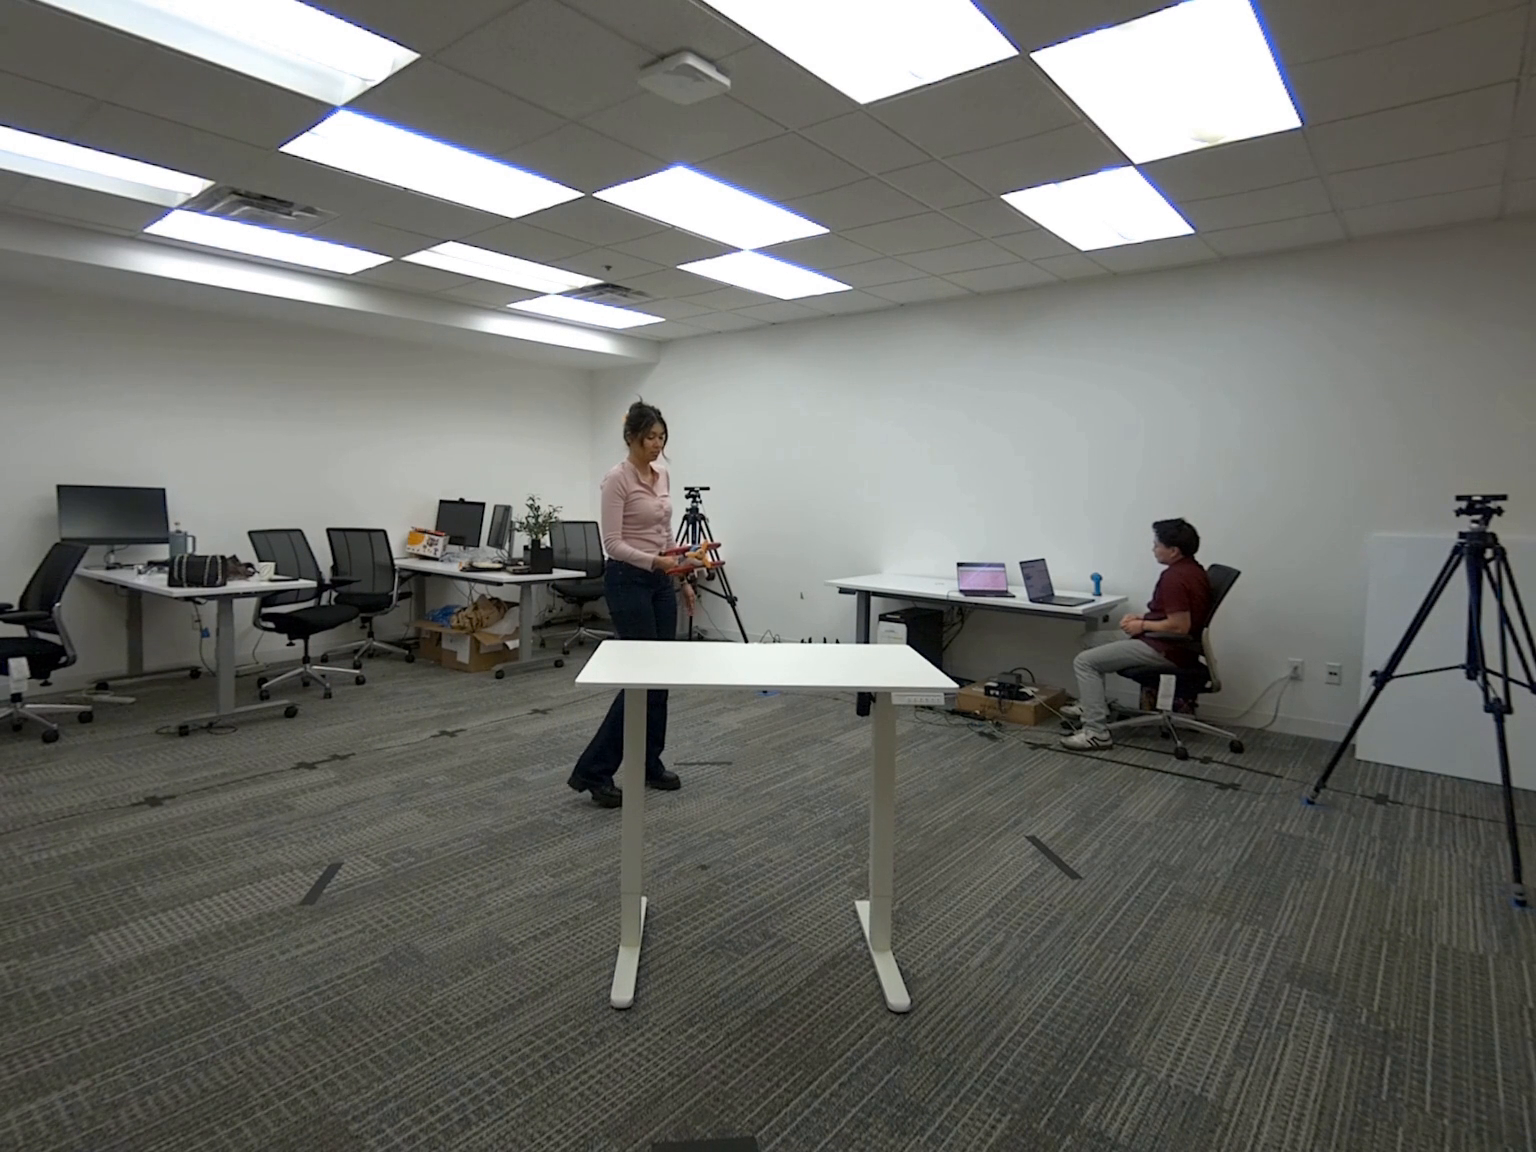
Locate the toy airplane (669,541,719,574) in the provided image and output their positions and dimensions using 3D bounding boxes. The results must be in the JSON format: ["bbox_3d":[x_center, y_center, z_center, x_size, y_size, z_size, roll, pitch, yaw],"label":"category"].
[{"bbox_3d":[-0.347,-0.050,3.508,0.267,0.156,0.245,-3,7,38],"label":"toy airplane"}]
